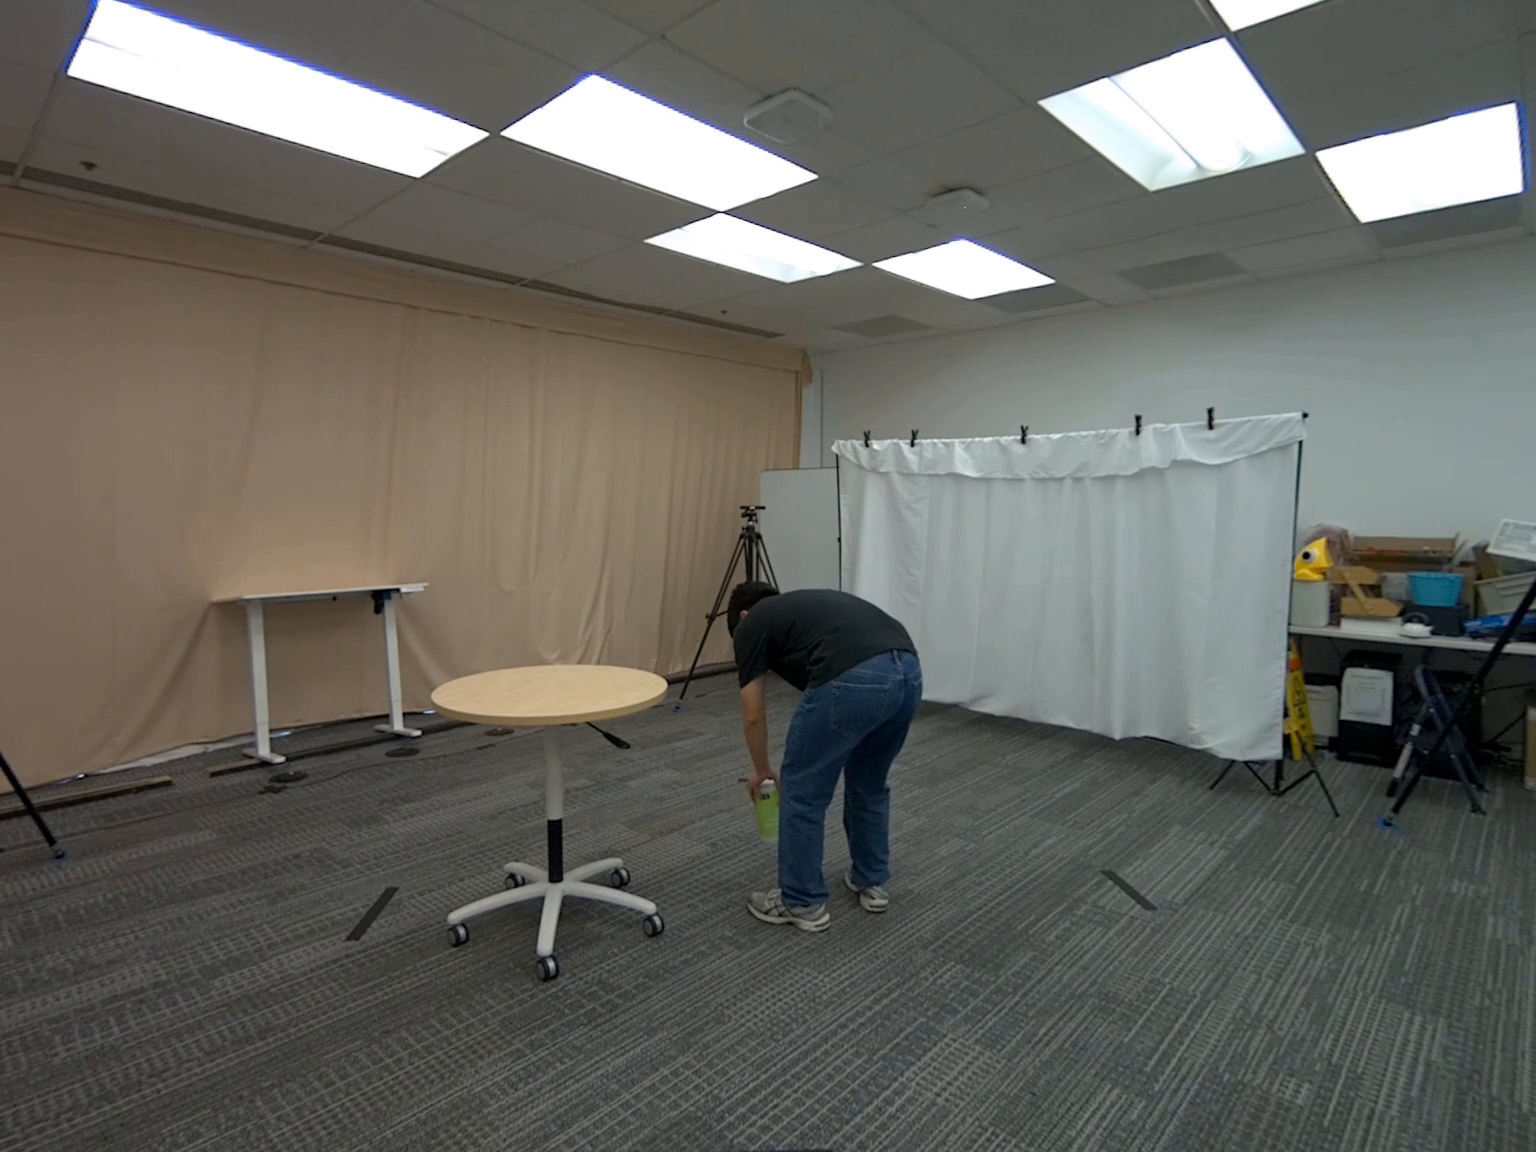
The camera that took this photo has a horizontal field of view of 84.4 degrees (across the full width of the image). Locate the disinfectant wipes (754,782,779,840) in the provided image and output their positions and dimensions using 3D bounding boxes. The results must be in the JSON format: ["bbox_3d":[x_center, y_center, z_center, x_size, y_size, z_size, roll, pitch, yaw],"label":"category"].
[{"bbox_3d":[0.007,0.872,3.123,0.117,0.218,0.118,-10,-1,-2],"label":"disinfectant wipes"}]
